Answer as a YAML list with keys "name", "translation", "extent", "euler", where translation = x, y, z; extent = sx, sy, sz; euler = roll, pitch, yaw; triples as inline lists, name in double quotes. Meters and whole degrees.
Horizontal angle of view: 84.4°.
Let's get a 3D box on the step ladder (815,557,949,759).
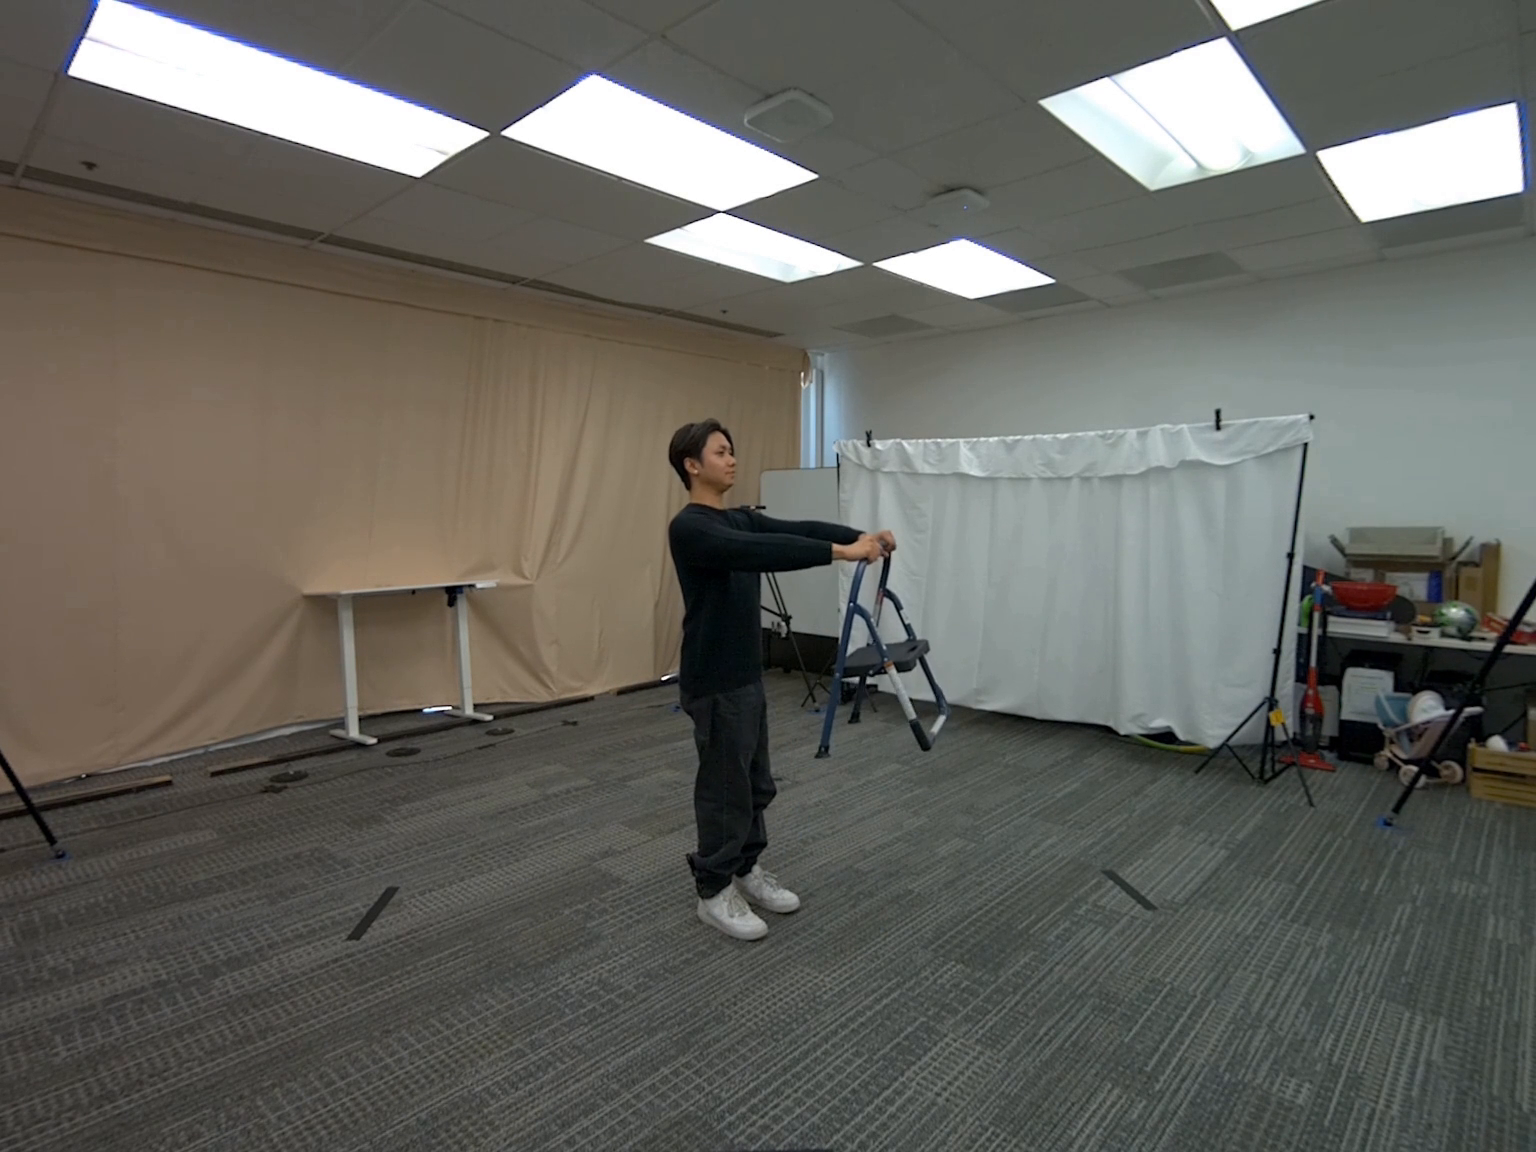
- name: "step ladder"
  translation: [0.327, 0.212, 2.632]
  extent: [0.356, 0.605, 0.422]
  euler: [-8, 2, 22]
